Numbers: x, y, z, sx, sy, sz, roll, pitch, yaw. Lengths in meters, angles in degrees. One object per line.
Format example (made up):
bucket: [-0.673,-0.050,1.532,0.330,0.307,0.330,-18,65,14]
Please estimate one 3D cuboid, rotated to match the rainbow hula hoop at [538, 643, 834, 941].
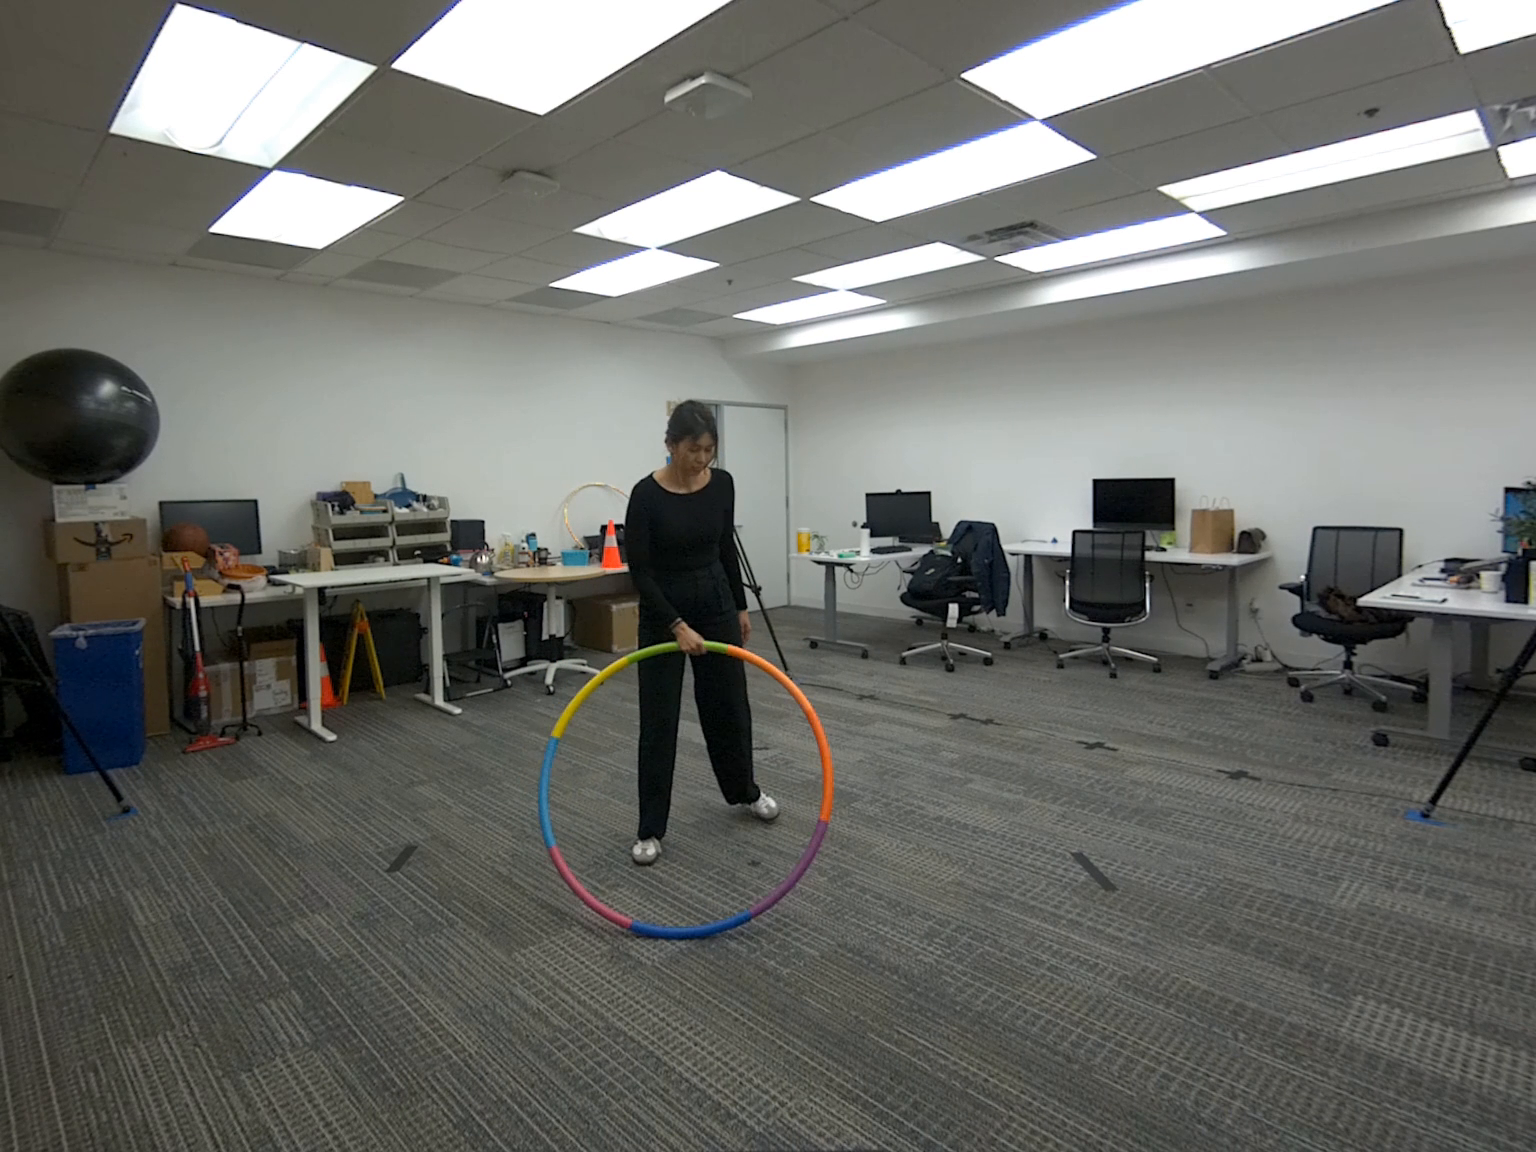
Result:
rainbow hula hoop: [-0.286,0.669,2.859,0.984,1.001,0.034,-1,-31,6]
